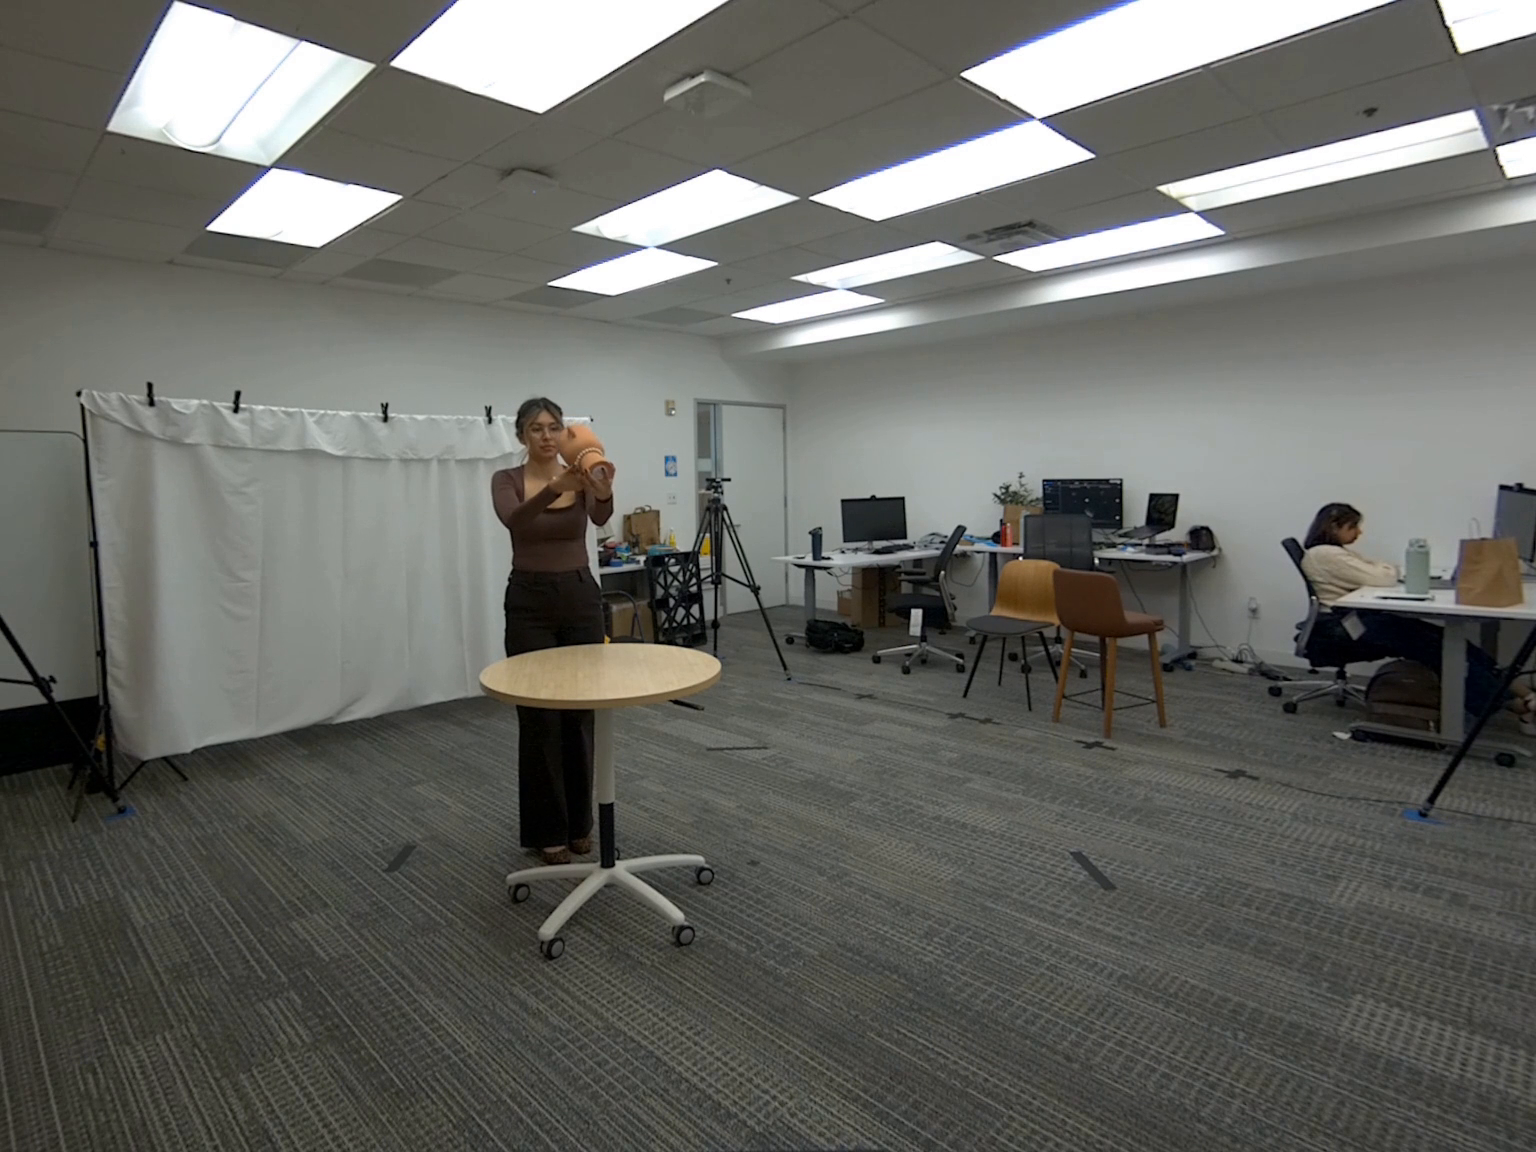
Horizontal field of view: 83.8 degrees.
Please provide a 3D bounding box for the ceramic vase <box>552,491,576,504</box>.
[{"bbox_3d":[-0.589,-0.394,2.821,0.153,0.134,0.228,12,27,-42],"label":"ceramic vase"}]
